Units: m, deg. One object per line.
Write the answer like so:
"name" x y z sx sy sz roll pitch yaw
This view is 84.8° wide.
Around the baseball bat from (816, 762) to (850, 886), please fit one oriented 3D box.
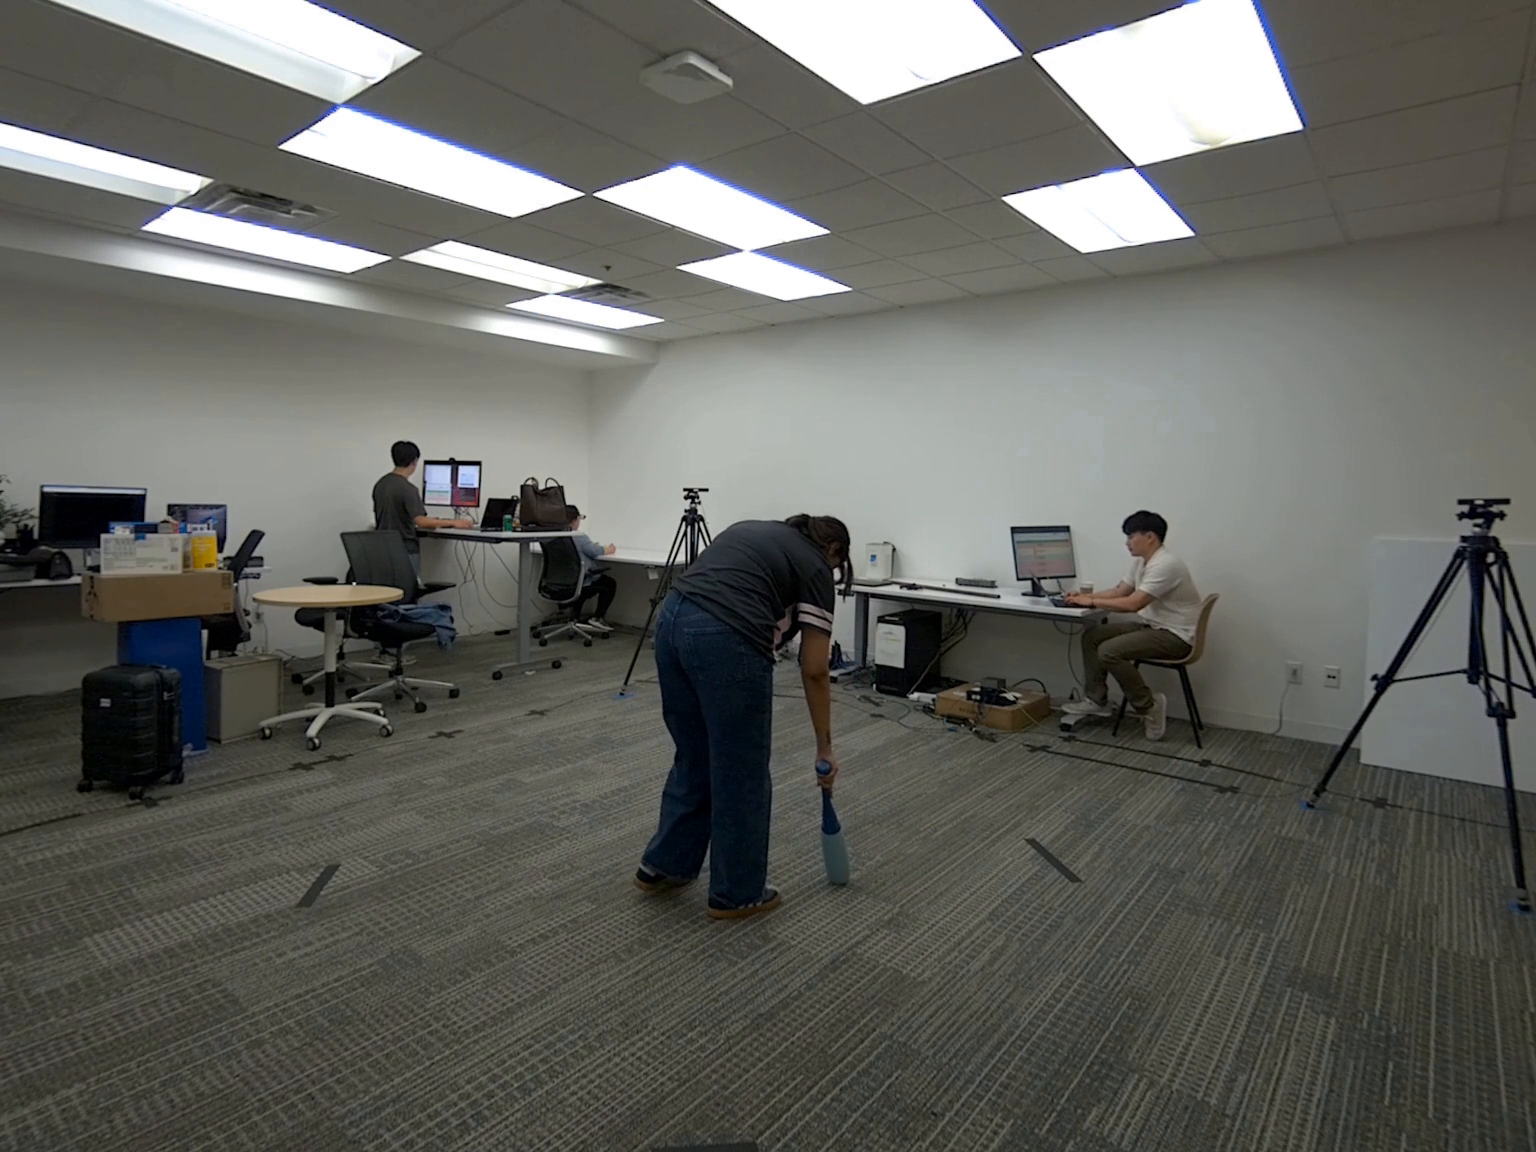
"baseball bat" 0.202 0.853 2.916 0.089 0.528 0.091 -10 28 4
